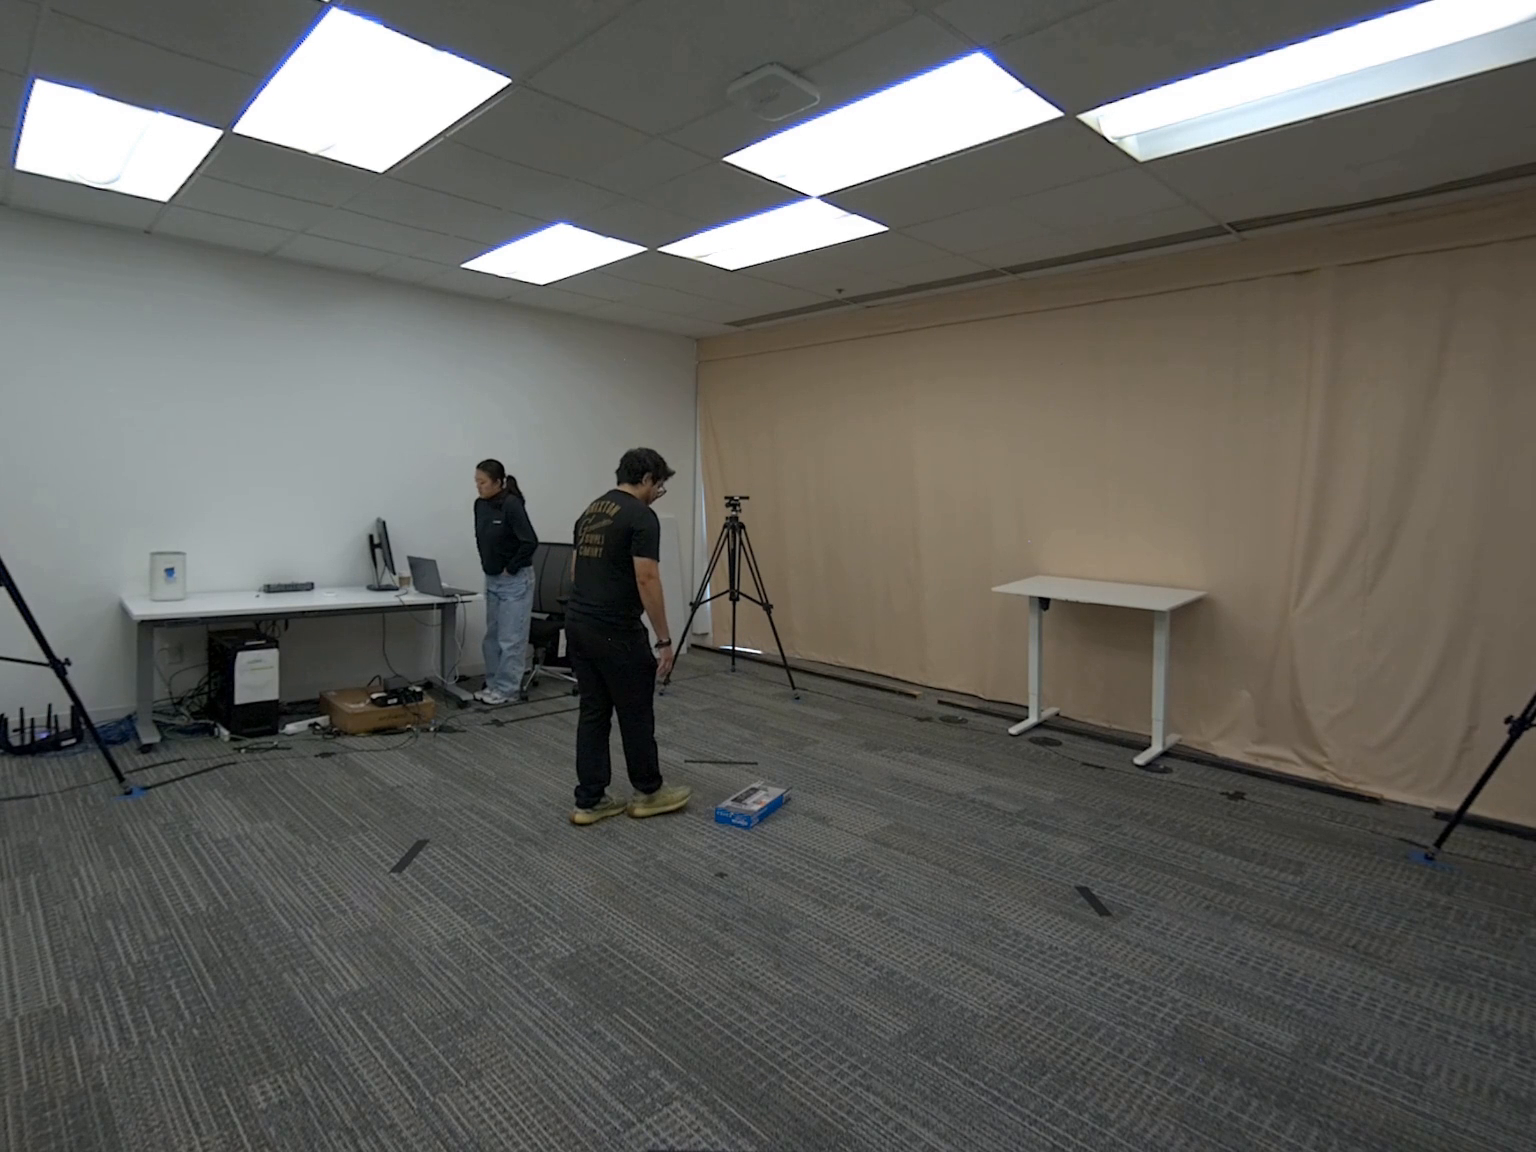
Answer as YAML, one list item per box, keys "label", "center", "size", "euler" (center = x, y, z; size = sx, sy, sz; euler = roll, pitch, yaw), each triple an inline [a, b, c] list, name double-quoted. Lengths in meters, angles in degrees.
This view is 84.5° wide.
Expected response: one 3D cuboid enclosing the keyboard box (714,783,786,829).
- label: "keyboard box"
  center: [-0.068, 1.018, 3.777]
  size: [0.179, 0.059, 0.429]
  euler: [5, 6, 26]
